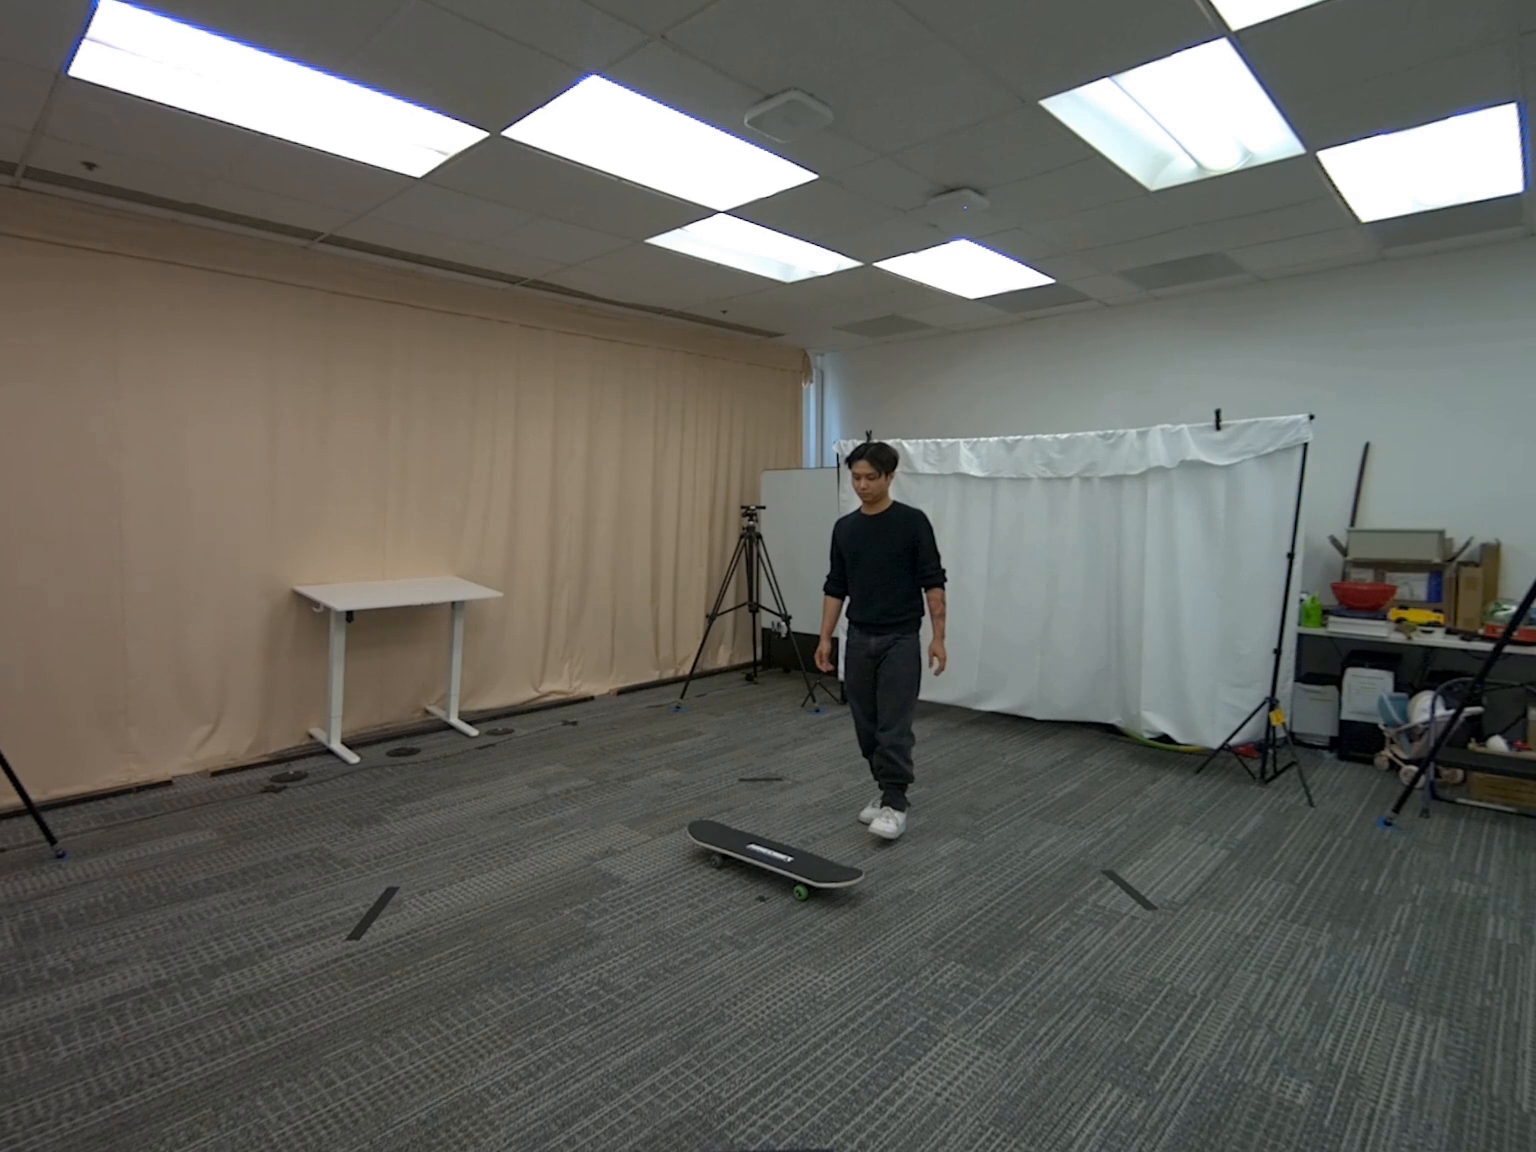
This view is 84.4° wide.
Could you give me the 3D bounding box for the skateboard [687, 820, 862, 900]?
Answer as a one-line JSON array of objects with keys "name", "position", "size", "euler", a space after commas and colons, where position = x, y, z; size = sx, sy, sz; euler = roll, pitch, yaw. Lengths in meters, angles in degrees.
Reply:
[{"name": "skateboard", "position": [0.013, 1.068, 3.162], "size": [0.811, 0.110, 0.188], "euler": [4, 6, 40]}]
